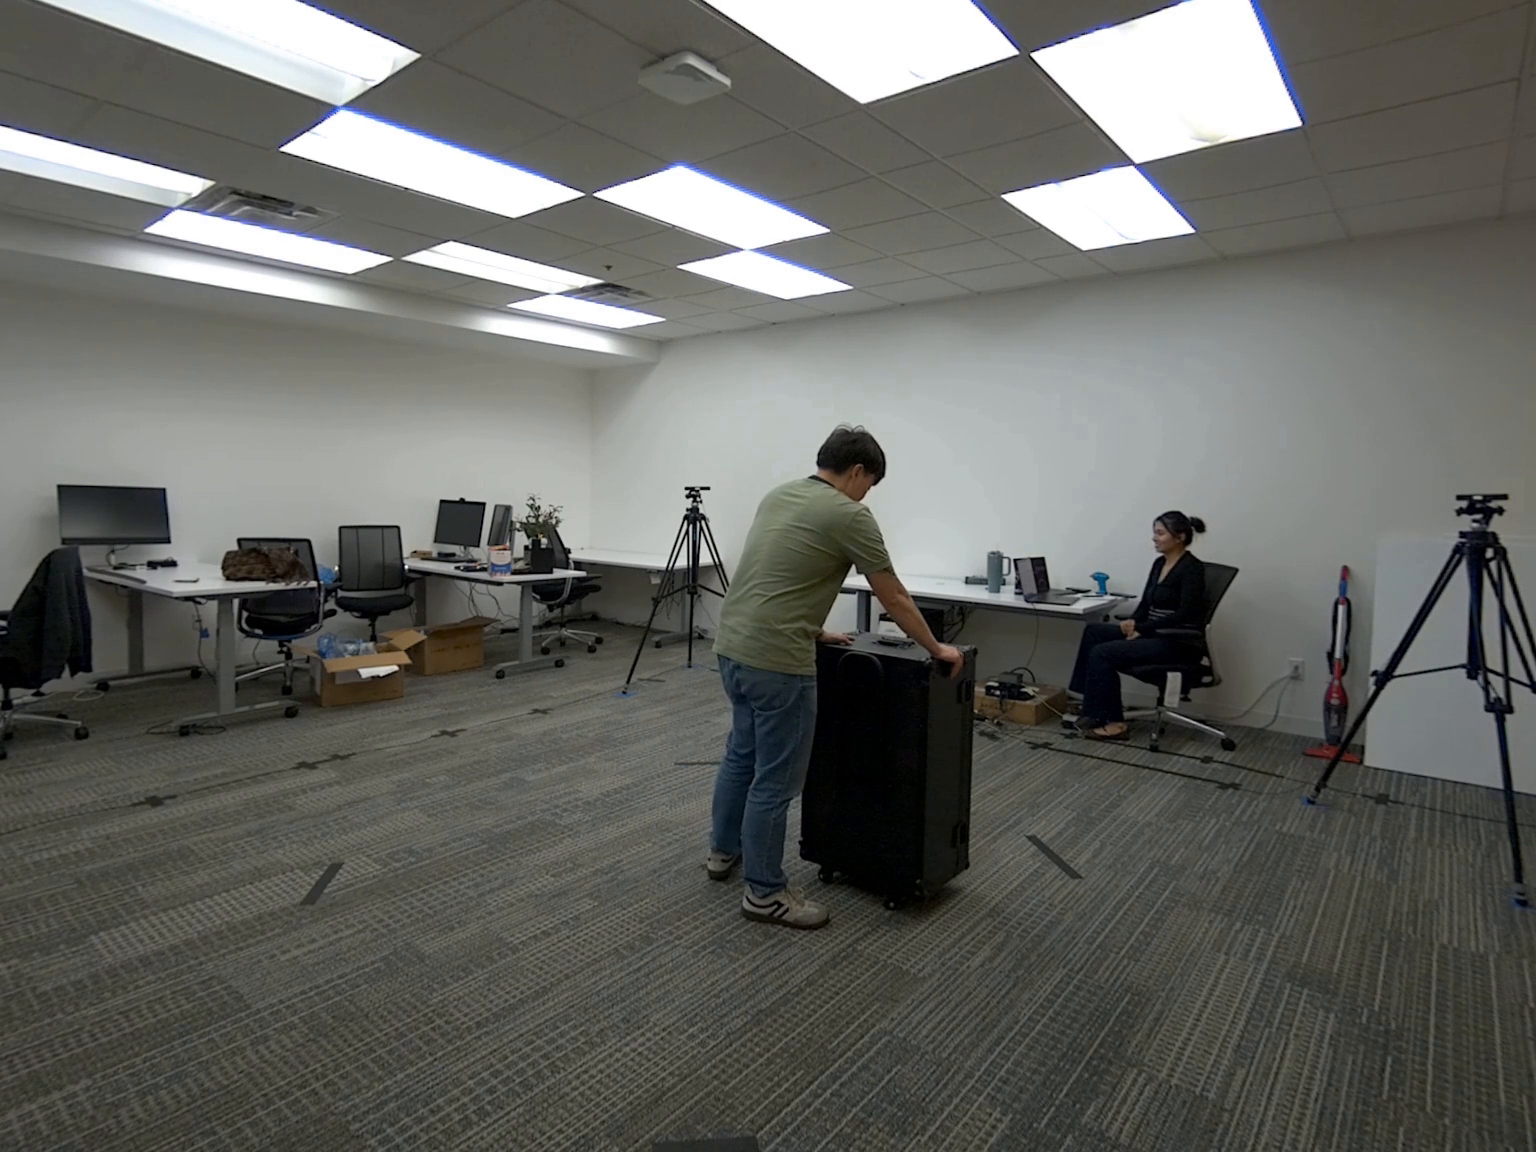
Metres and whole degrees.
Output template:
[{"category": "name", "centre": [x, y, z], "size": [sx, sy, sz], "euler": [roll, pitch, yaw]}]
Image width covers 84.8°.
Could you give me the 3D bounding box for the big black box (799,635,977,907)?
[{"category": "big black box", "centre": [0.411, 0.662, 2.990], "size": [0.539, 0.859, 0.384], "euler": [5, 5, 39]}]
